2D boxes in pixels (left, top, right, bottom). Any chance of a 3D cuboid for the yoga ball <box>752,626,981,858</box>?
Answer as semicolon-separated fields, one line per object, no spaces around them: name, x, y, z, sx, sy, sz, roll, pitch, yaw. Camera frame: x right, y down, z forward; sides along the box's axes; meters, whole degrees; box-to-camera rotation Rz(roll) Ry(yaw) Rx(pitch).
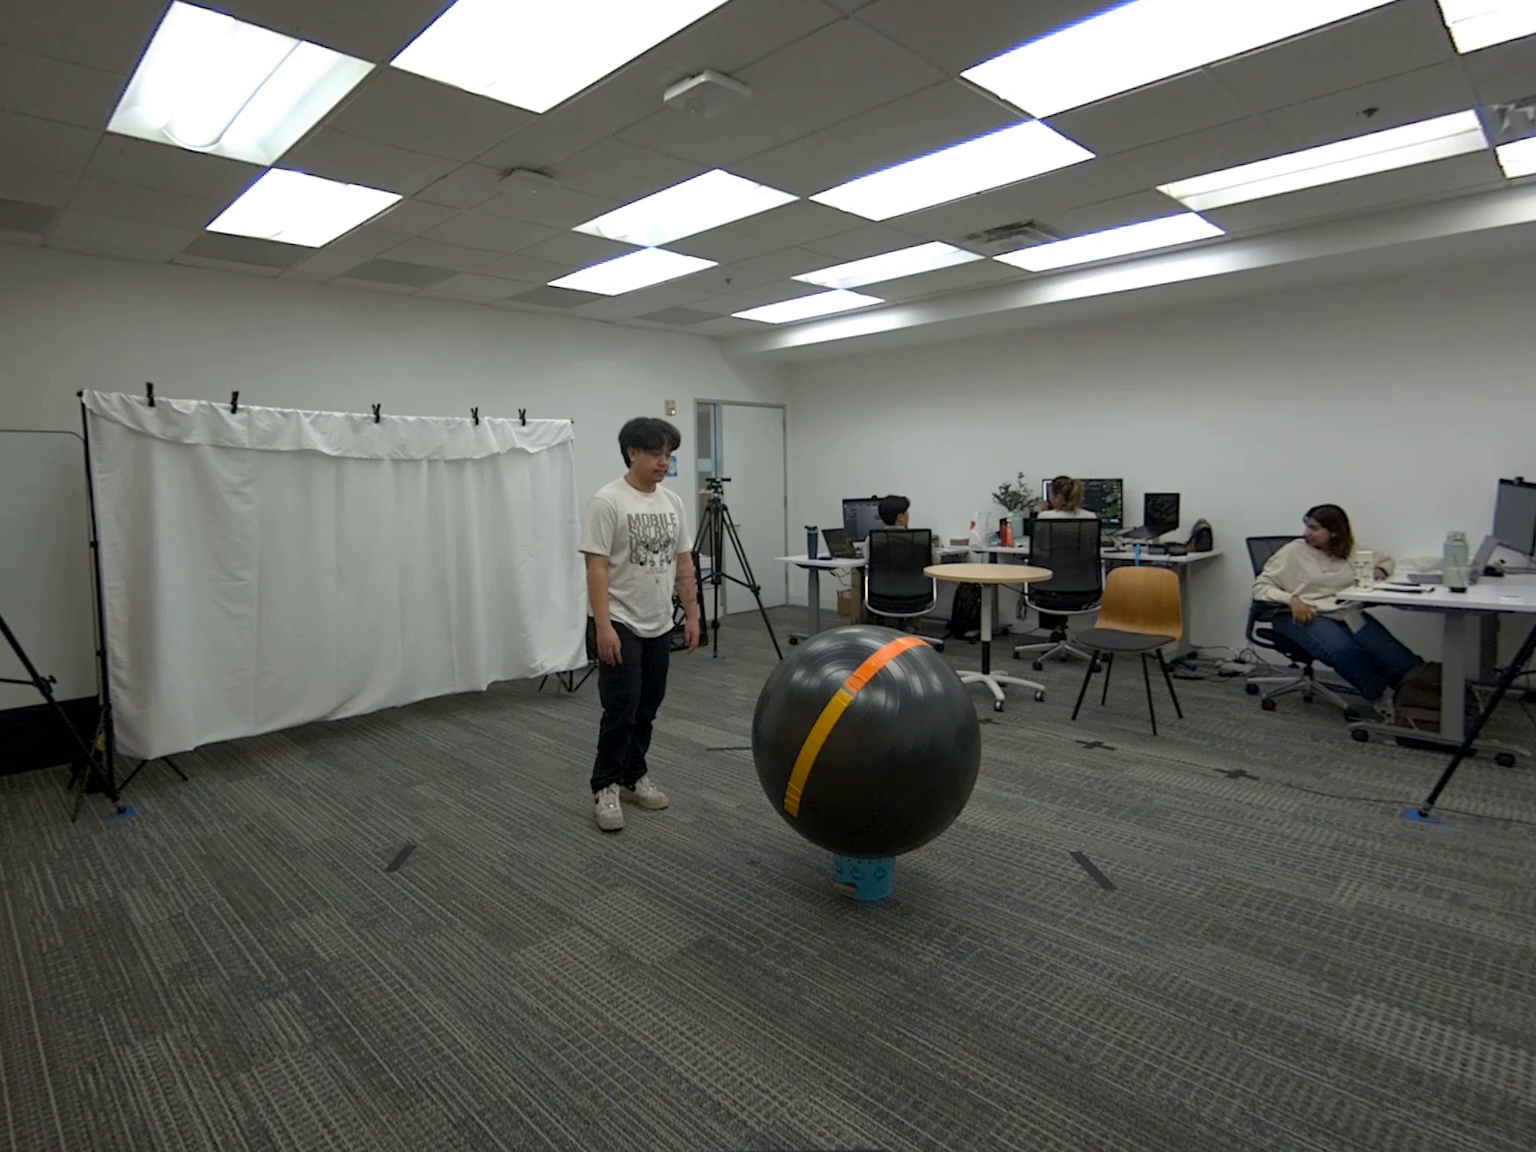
yoga ball;0.322;0.549;2.877;0.757;0.755;0.762;-1;5;-2
